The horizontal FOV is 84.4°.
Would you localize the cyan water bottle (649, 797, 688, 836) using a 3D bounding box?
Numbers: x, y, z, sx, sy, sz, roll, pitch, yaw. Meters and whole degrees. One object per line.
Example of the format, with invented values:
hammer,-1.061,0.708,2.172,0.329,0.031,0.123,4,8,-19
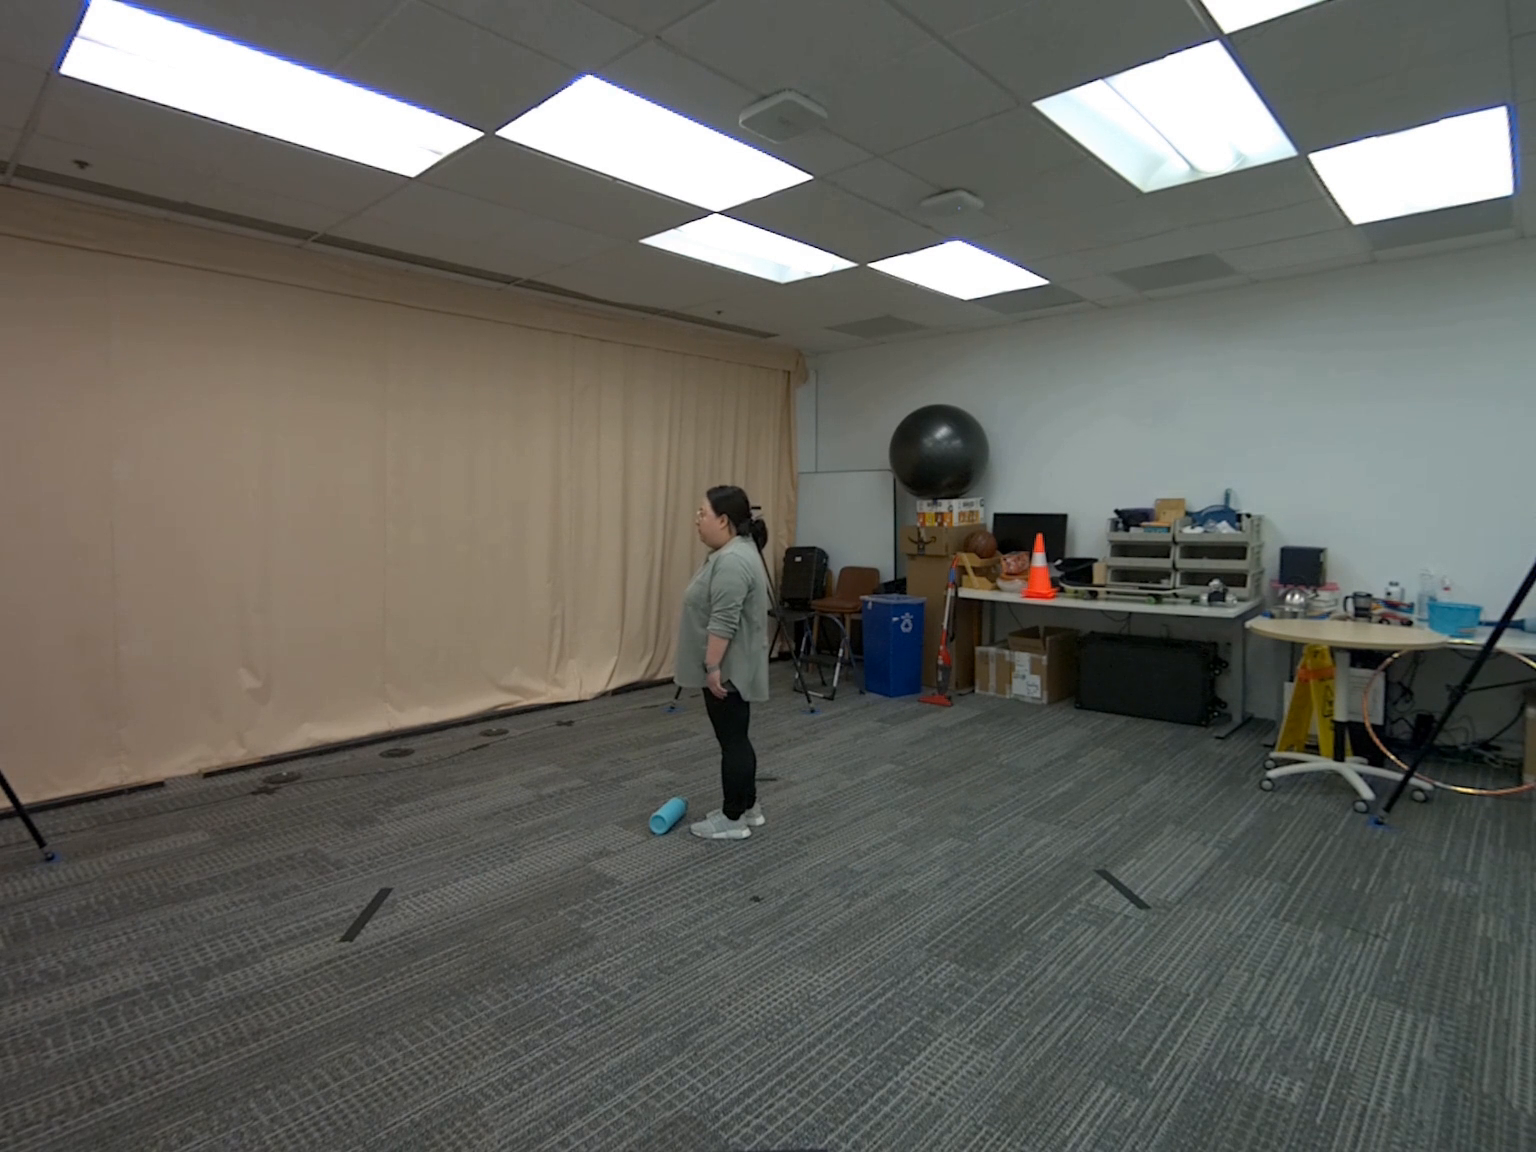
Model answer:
cyan water bottle,-0.430,1.045,3.712,0.094,0.092,0.279,1,5,14
